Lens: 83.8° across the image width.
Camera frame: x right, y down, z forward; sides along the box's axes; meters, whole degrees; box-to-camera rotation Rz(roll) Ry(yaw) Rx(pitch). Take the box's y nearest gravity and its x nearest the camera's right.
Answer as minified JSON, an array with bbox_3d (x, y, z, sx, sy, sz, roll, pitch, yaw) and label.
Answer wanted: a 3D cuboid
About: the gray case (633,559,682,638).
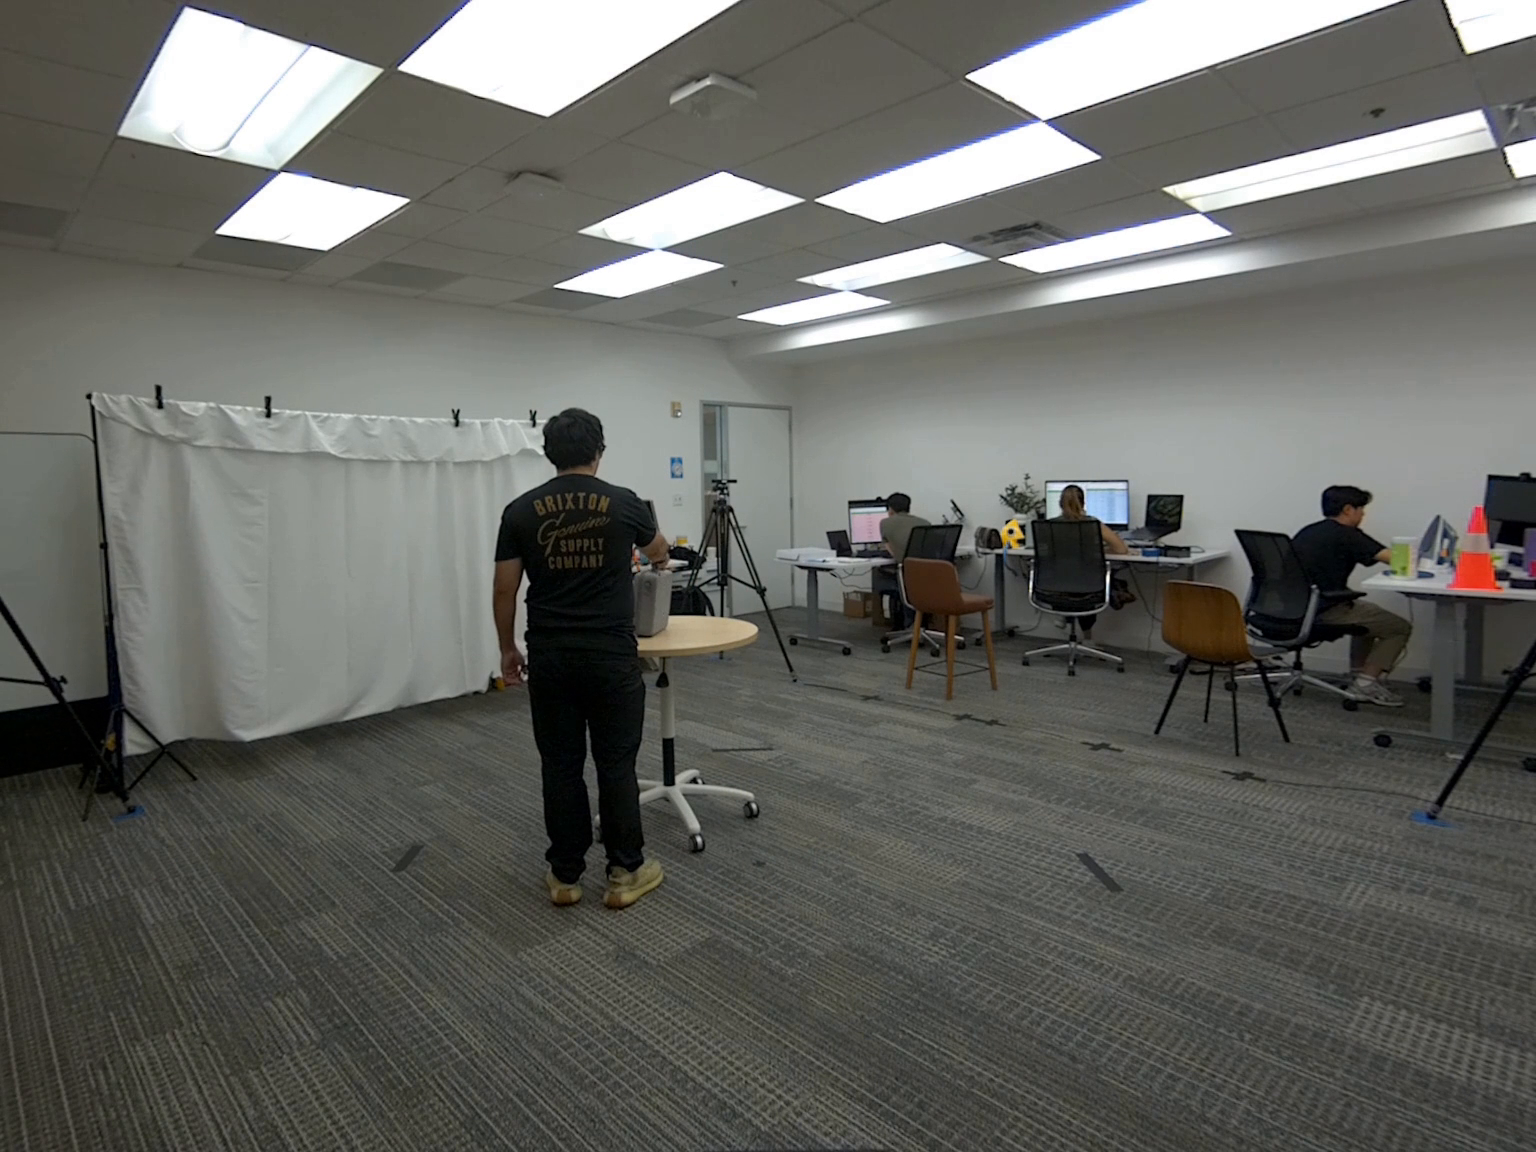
[{"bbox_3d":[-0.470,0.098,3.479,0.105,0.259,0.256,5,6,7],"label":"gray case"}]
